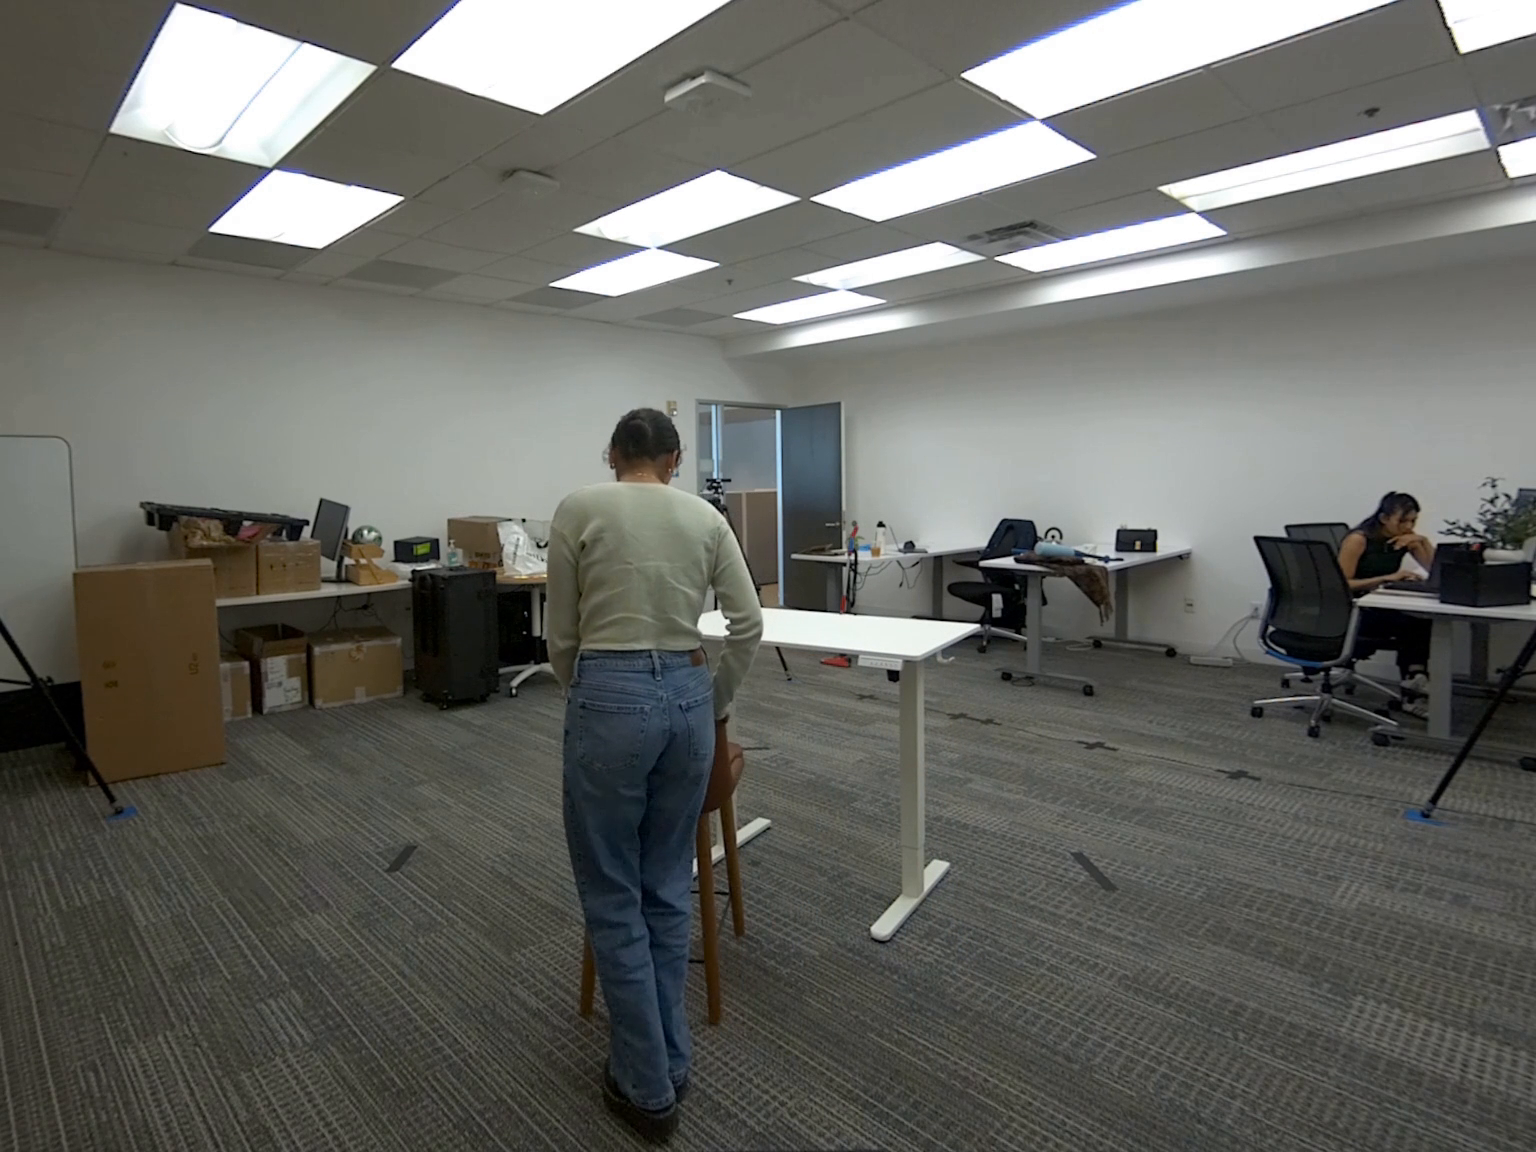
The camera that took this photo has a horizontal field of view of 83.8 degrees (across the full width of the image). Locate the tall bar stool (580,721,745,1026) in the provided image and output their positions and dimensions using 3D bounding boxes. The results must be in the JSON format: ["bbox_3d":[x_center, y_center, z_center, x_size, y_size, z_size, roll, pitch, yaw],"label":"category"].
[{"bbox_3d":[-0.296,0.694,2.402,0.459,0.884,0.467,-1,6,6],"label":"tall bar stool"}]
